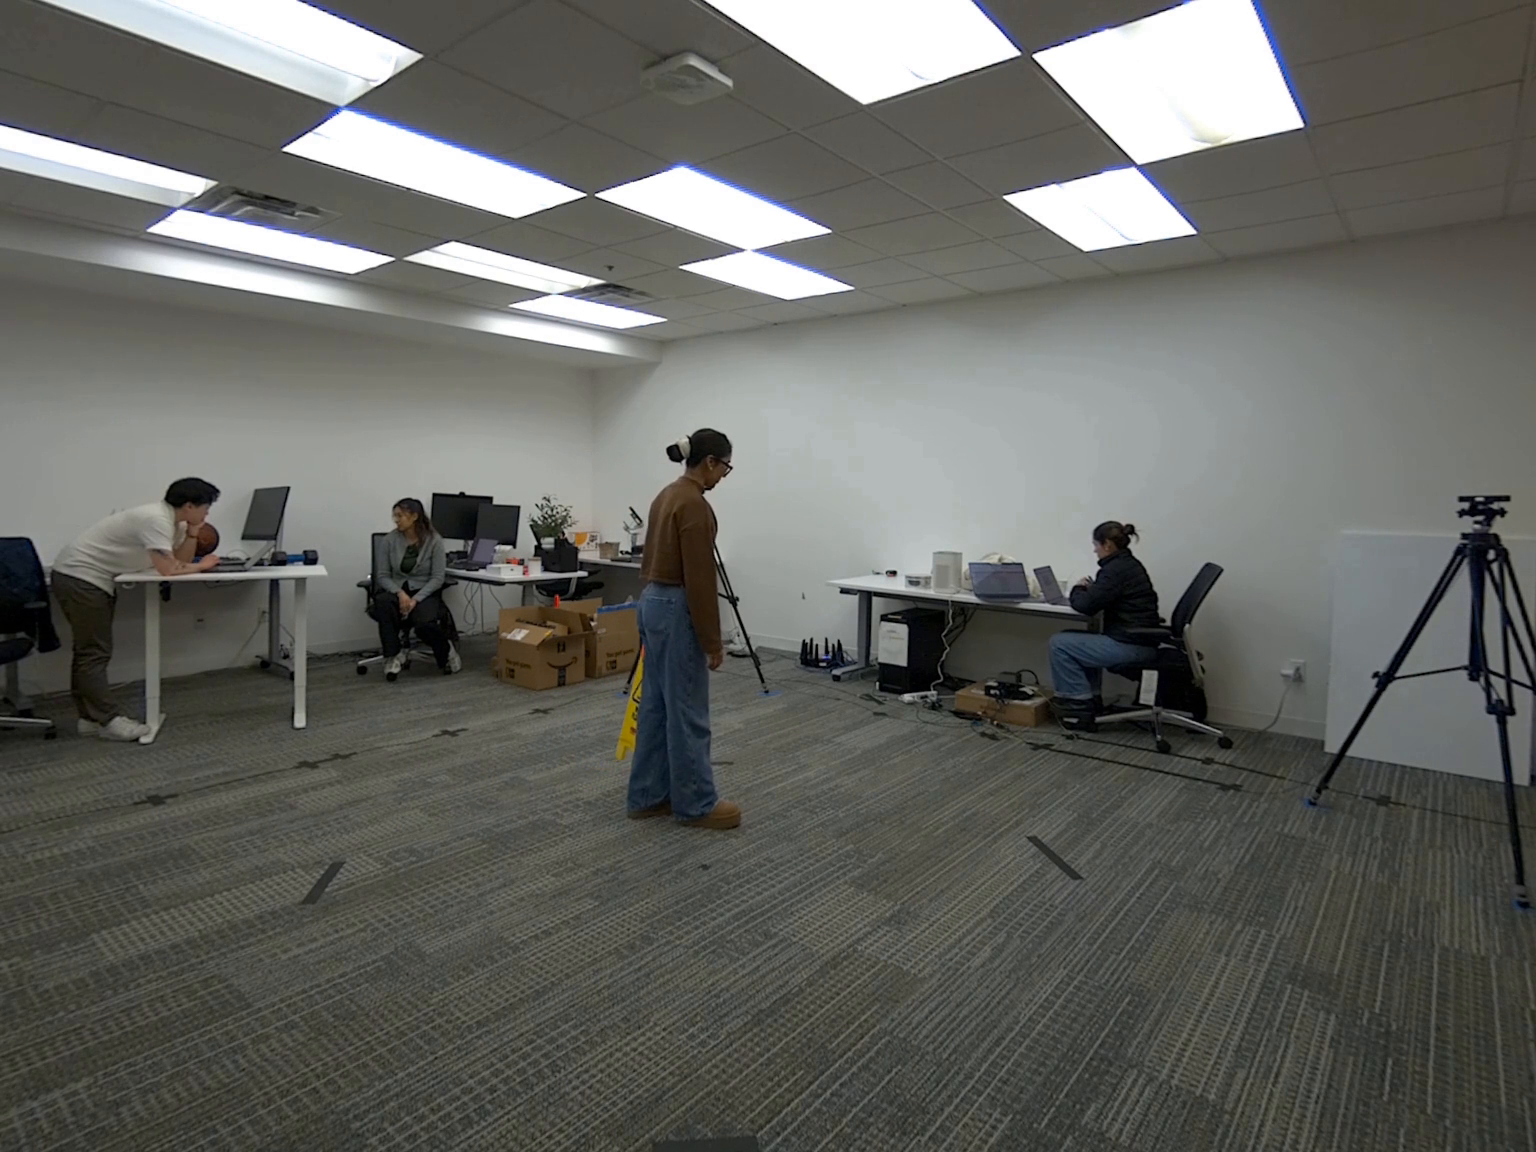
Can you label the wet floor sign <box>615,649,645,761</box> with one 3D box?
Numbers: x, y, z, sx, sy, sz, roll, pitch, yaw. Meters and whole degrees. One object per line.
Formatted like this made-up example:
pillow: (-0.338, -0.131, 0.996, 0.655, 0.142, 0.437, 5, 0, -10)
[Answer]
wet floor sign: (-0.521, 0.534, 3.903, 0.282, 0.644, 0.291, 0, 5, -32)
